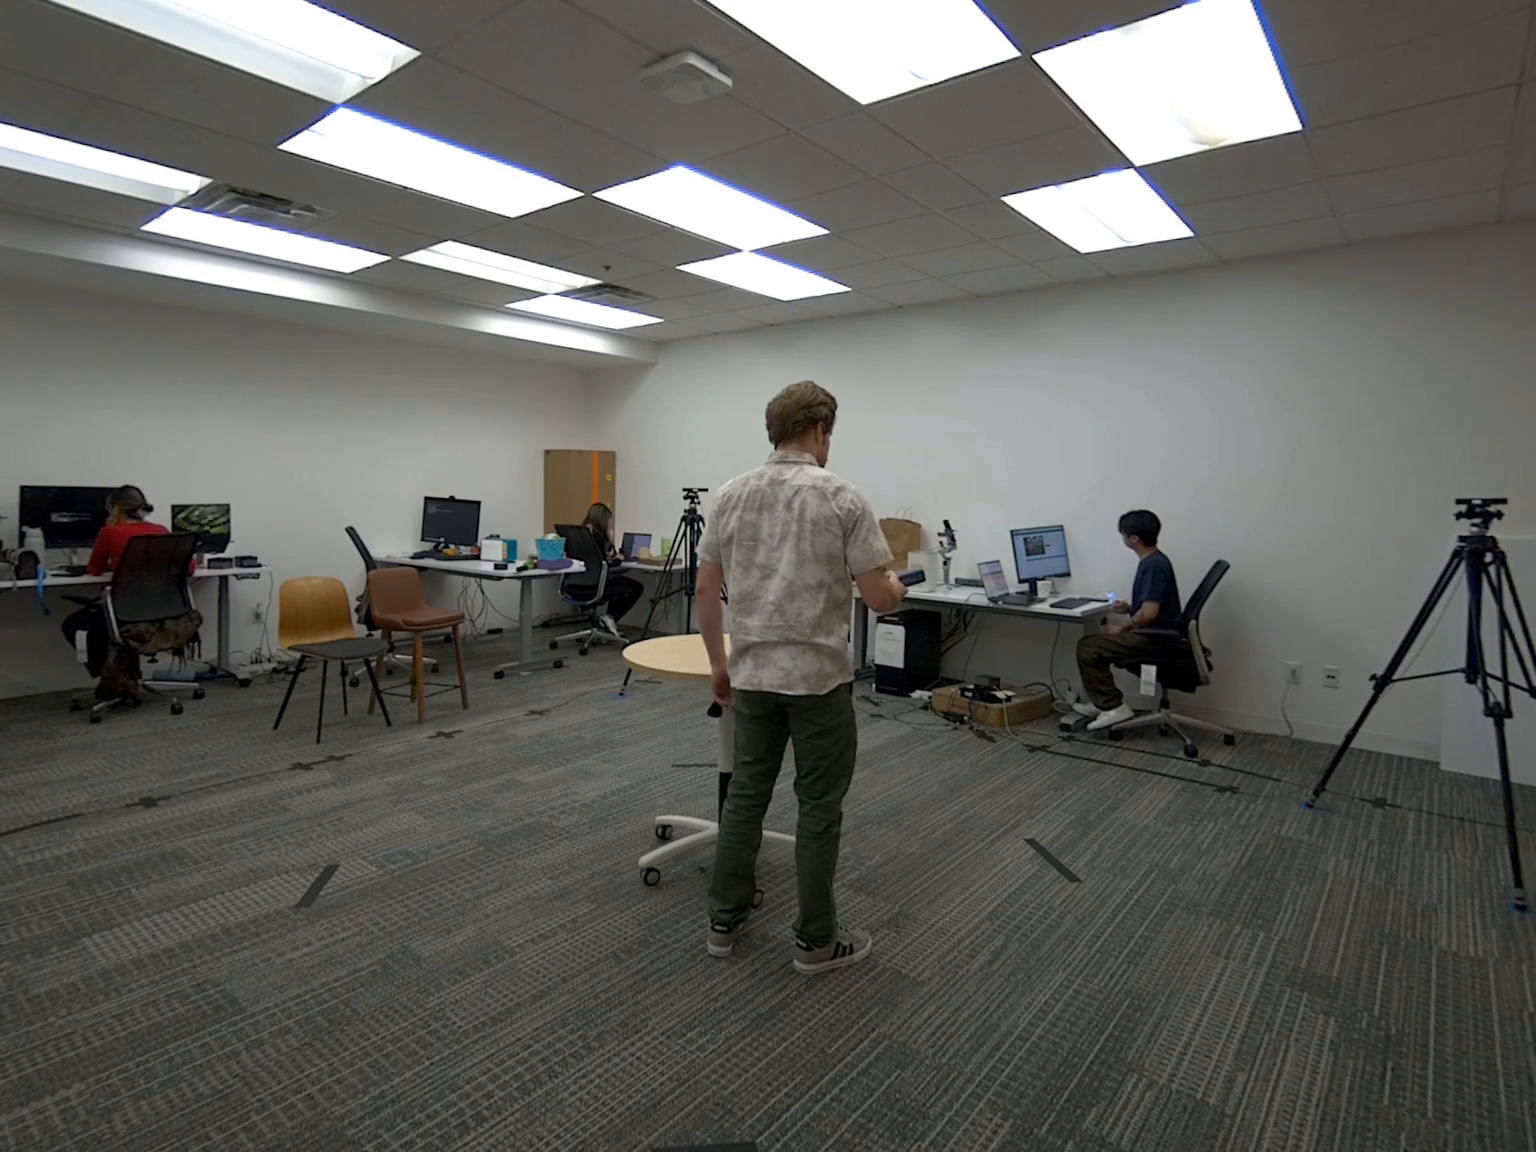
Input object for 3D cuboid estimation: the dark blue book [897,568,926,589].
[{"bbox_3d":[0.379,0.027,2.783,0.239,0.045,0.168,-15,6,-37],"label":"dark blue book"}]
